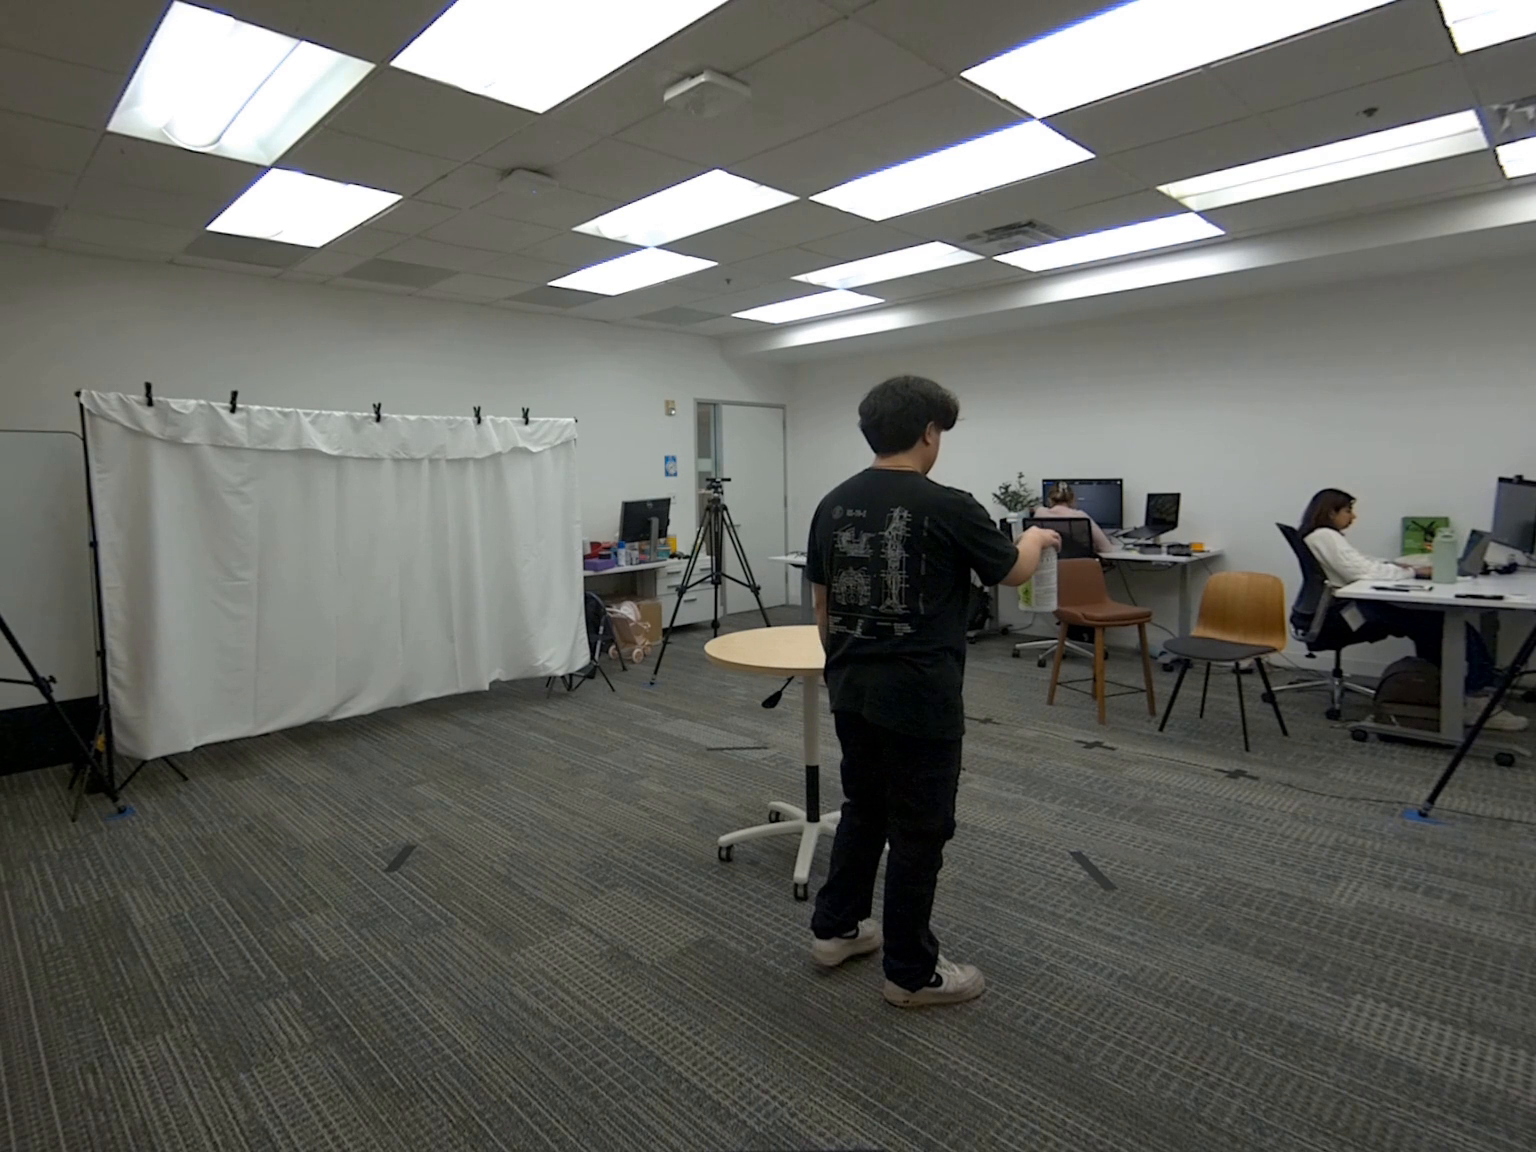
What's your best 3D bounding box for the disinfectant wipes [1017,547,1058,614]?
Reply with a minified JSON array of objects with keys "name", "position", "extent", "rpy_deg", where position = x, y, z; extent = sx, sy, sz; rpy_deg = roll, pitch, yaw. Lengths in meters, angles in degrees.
[{"name":"disinfectant wipes","position":[0.808,-0.005,2.555],"extent":[0.118,0.216,0.118],"rpy_deg":[-4,5,-1]}]
